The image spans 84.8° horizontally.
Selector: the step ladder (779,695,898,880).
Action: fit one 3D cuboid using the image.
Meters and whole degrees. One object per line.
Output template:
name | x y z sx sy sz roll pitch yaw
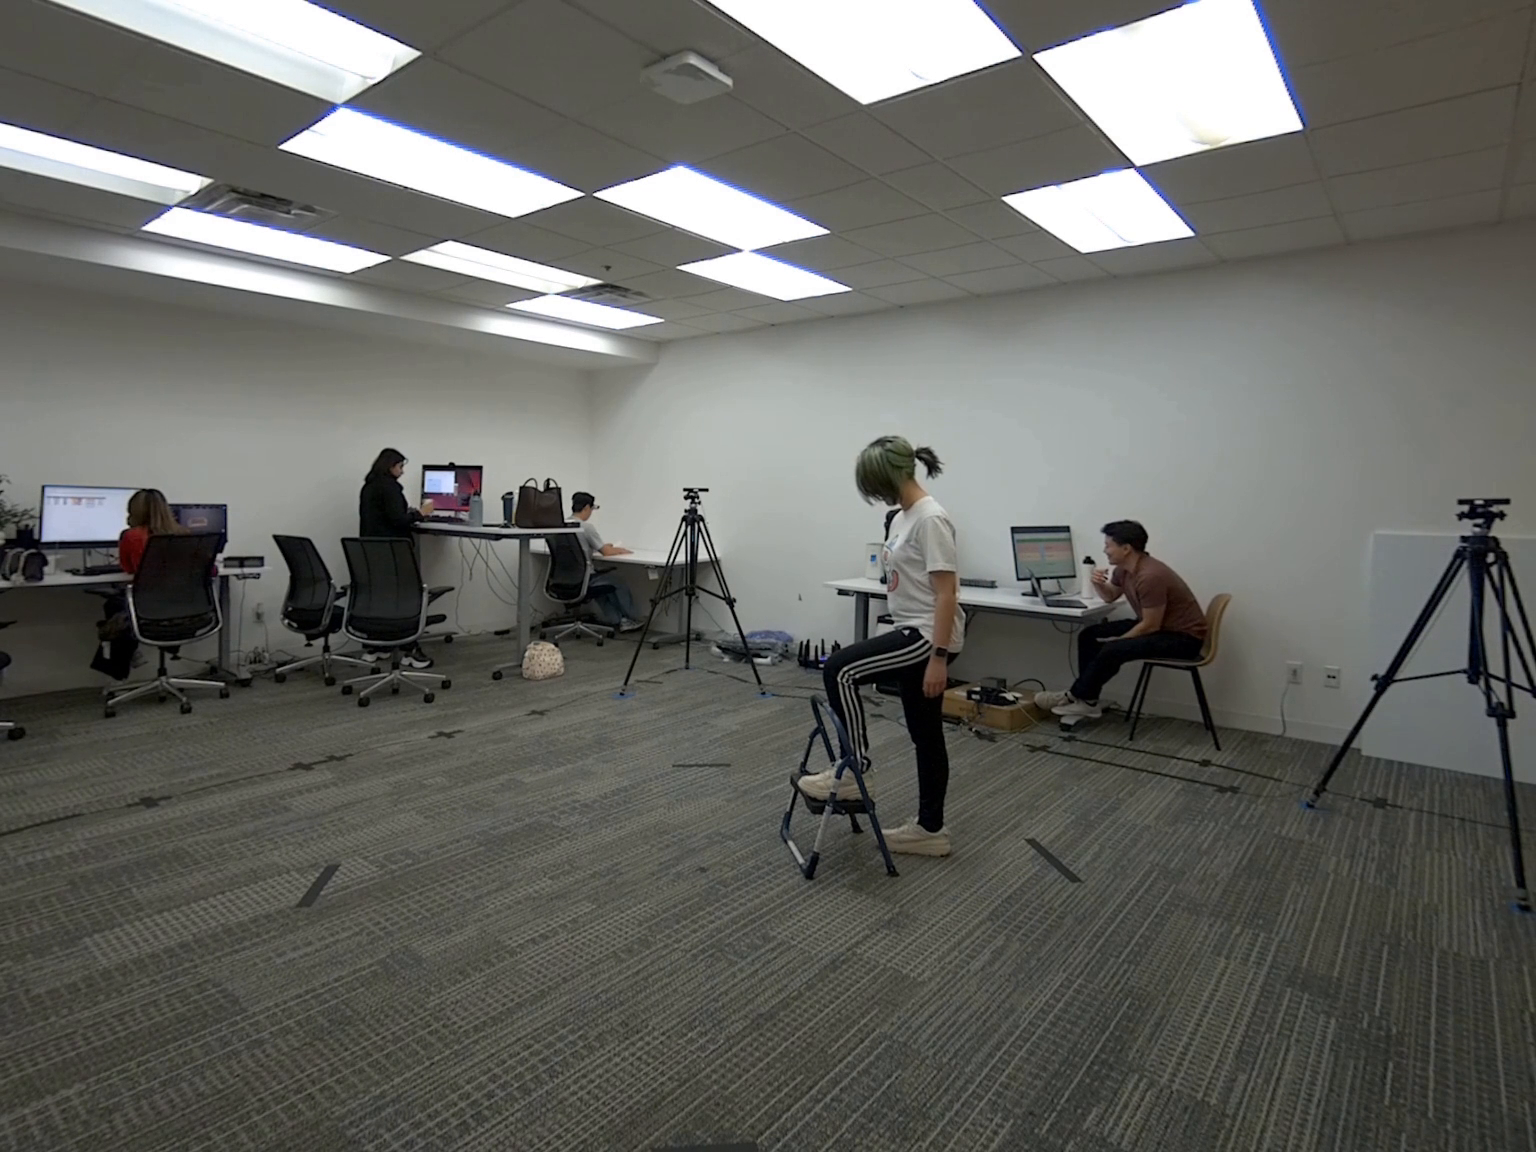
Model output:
step ladder | 0.260 0.770 3.258 0.345 0.604 0.437 1 3 -12
